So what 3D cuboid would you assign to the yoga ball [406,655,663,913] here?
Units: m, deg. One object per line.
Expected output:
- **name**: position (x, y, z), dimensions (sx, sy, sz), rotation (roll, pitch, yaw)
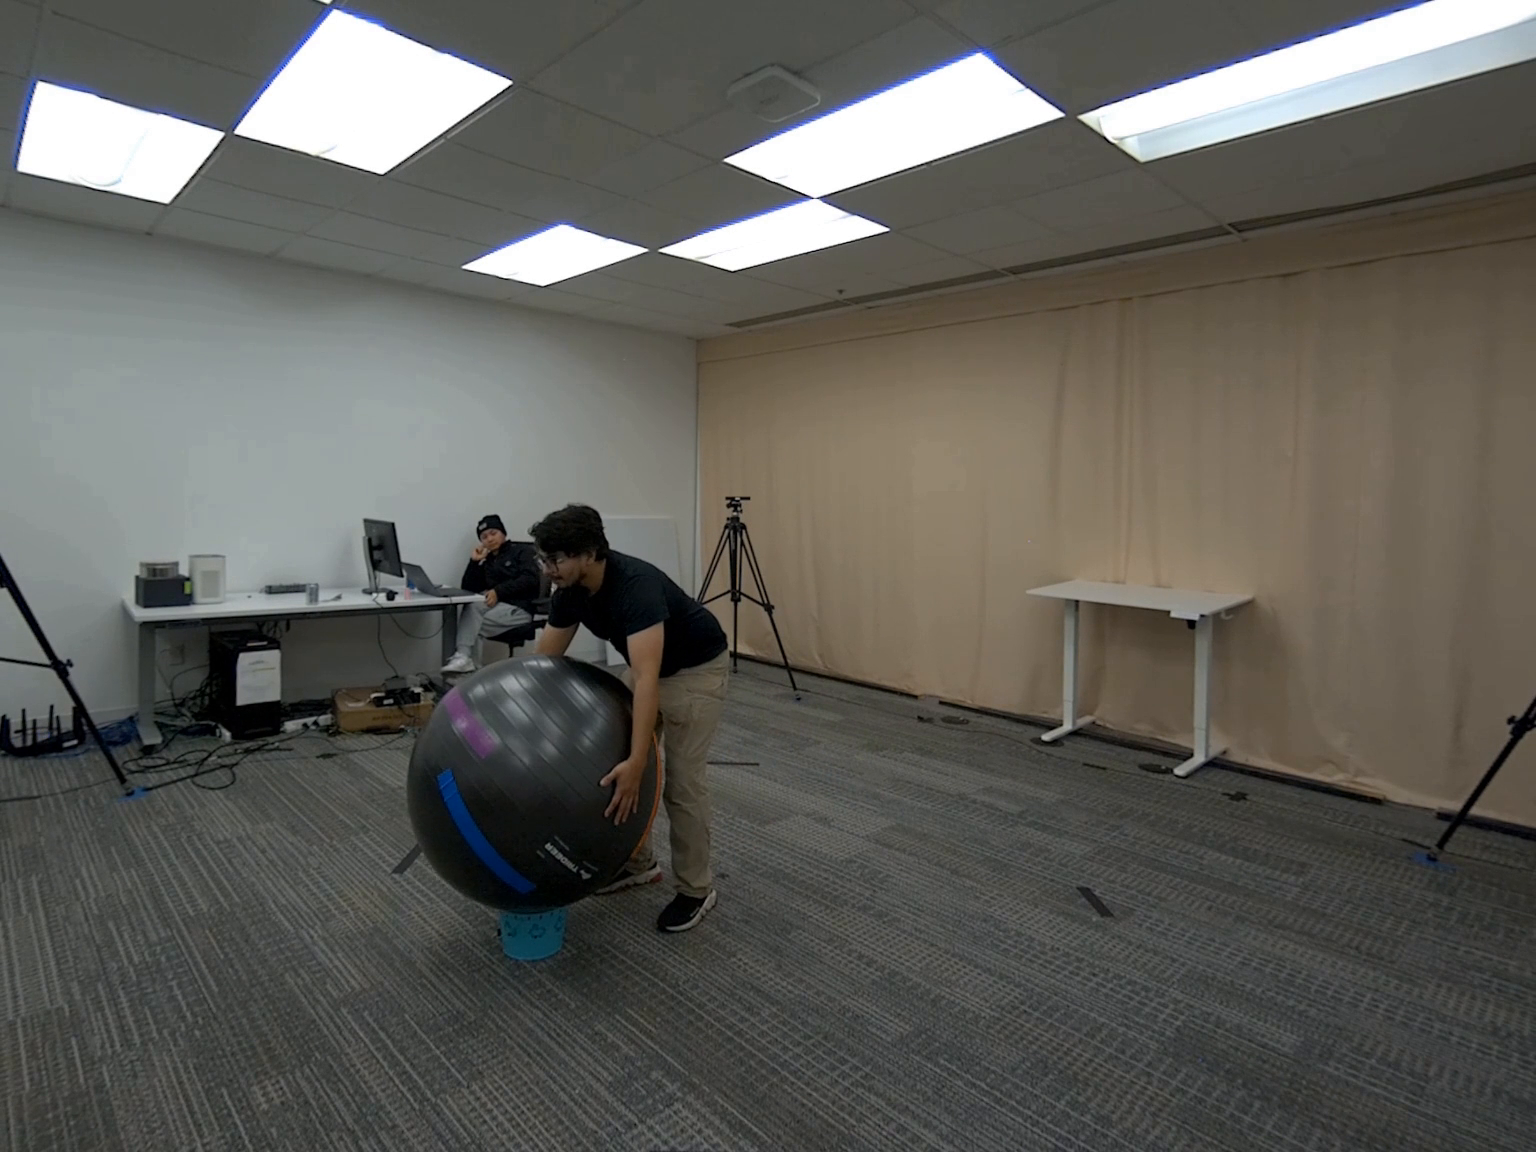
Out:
- **yoga ball**: position (-0.711, 0.627, 2.590), dimensions (0.757, 0.756, 0.761), rotation (1, 4, -1)
